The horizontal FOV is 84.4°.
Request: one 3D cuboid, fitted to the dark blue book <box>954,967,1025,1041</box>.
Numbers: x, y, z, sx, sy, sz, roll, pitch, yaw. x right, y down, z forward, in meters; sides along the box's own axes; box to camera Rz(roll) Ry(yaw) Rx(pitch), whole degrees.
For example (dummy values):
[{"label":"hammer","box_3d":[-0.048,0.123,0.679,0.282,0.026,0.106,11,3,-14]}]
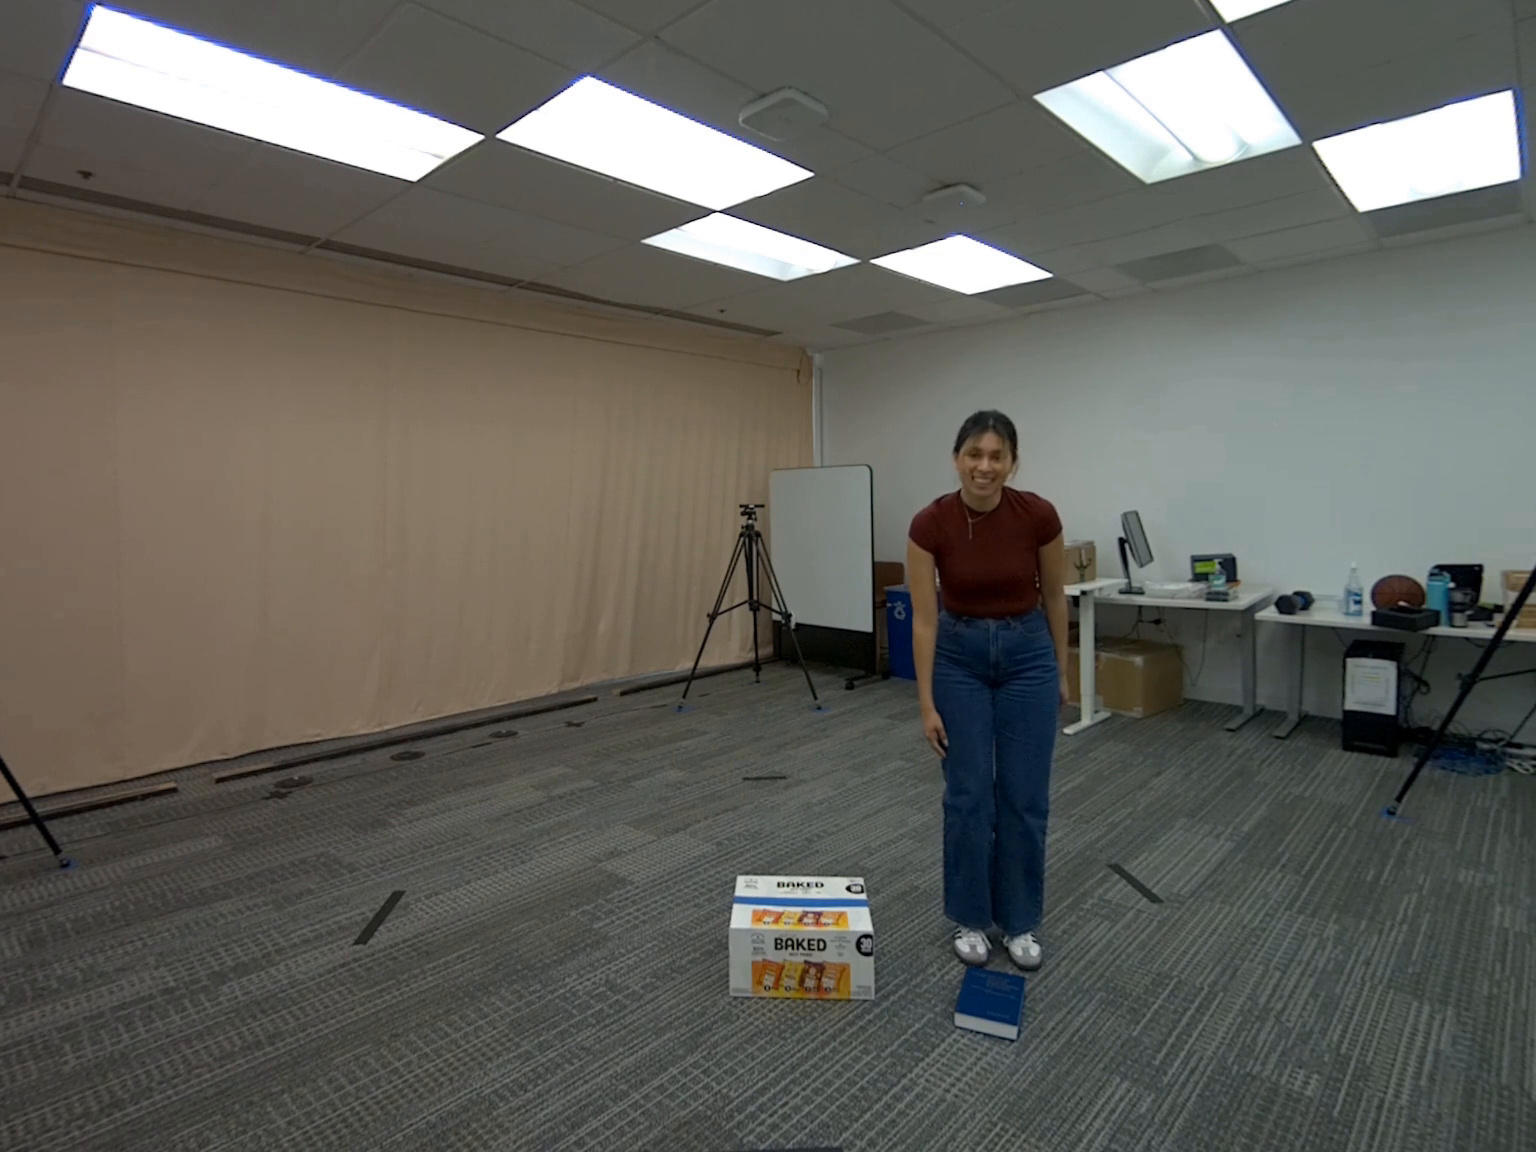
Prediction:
[{"label":"dark blue book","box_3d":[0.620,1.166,2.301,0.167,0.045,0.240,2,4,23]}]
